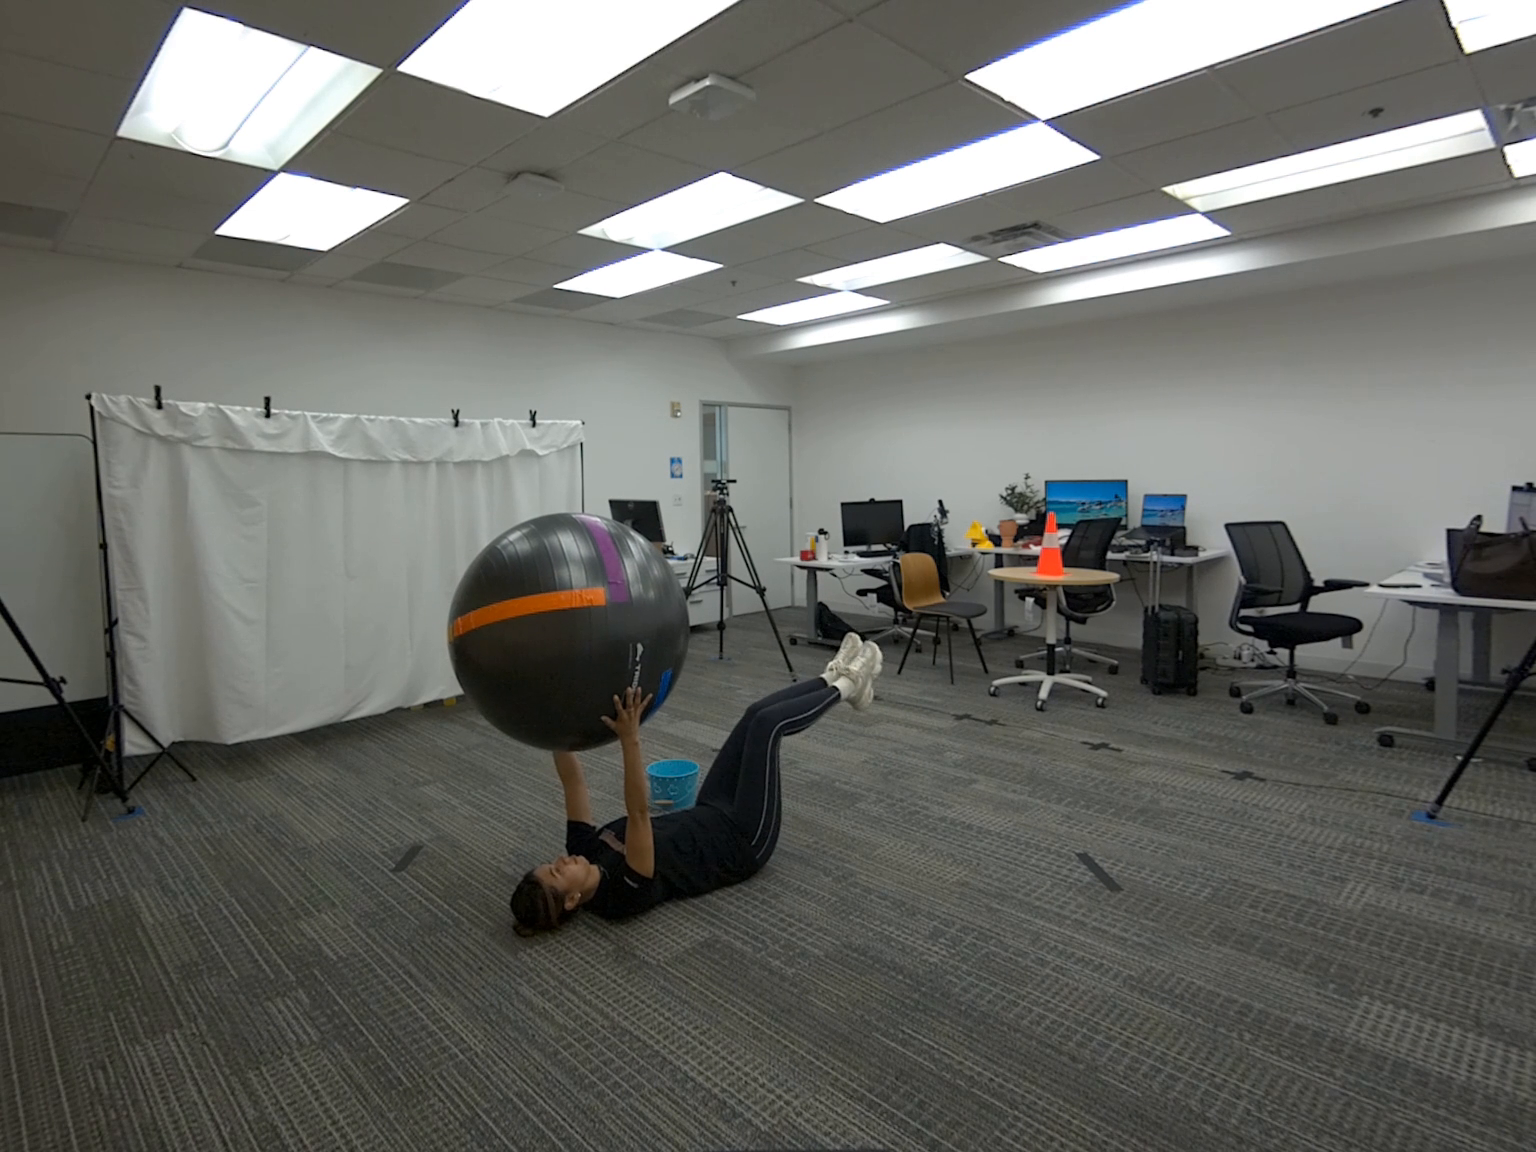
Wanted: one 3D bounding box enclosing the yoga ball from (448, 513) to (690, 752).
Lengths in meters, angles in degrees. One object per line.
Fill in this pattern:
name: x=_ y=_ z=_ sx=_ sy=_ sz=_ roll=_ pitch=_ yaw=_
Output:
yoga ball: x=-0.631 y=0.178 z=2.743 sx=0.757 sy=0.757 sz=0.759 roll=0 pitch=1 yaw=-2
